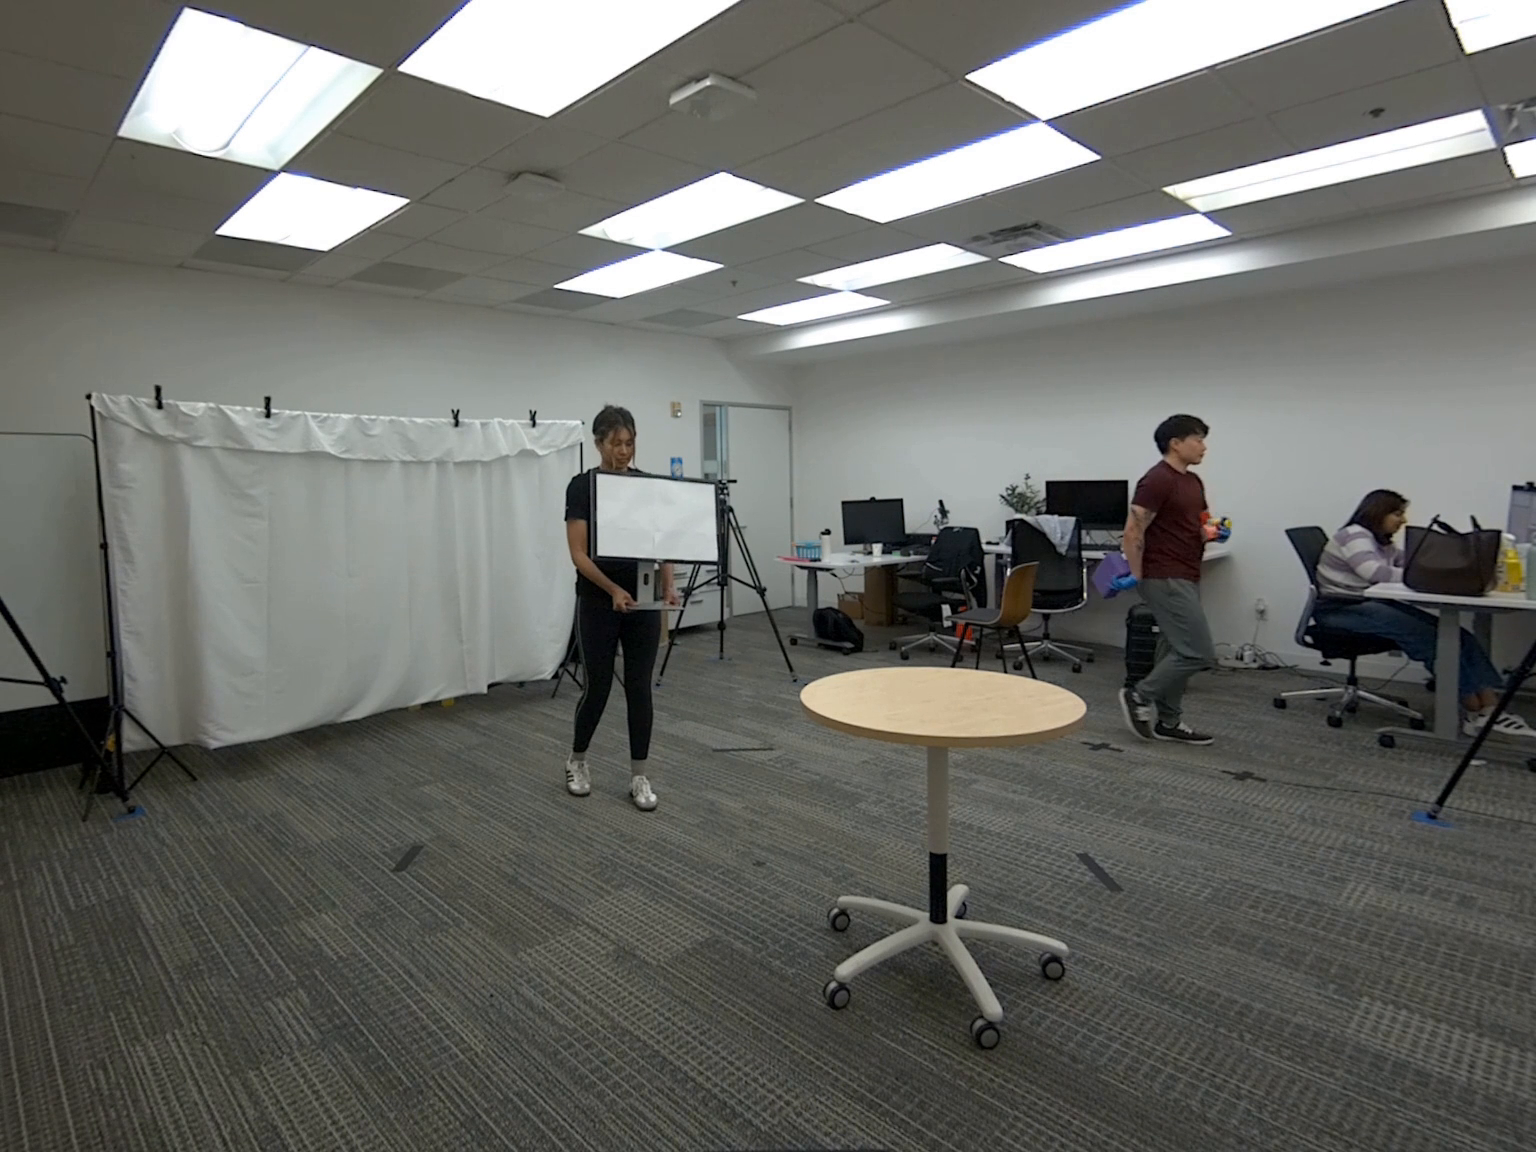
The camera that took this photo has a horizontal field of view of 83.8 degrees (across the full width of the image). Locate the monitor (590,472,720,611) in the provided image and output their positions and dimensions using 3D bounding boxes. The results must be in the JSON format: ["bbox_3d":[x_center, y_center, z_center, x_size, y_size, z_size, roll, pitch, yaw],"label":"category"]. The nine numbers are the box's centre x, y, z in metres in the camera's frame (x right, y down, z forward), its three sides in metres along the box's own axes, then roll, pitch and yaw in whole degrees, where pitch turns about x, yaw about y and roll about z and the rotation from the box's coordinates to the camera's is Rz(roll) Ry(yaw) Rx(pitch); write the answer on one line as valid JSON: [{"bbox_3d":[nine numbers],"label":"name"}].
[{"bbox_3d":[-0.469,-0.139,3.479,0.525,0.522,0.192,2,1,-31],"label":"monitor"}]
